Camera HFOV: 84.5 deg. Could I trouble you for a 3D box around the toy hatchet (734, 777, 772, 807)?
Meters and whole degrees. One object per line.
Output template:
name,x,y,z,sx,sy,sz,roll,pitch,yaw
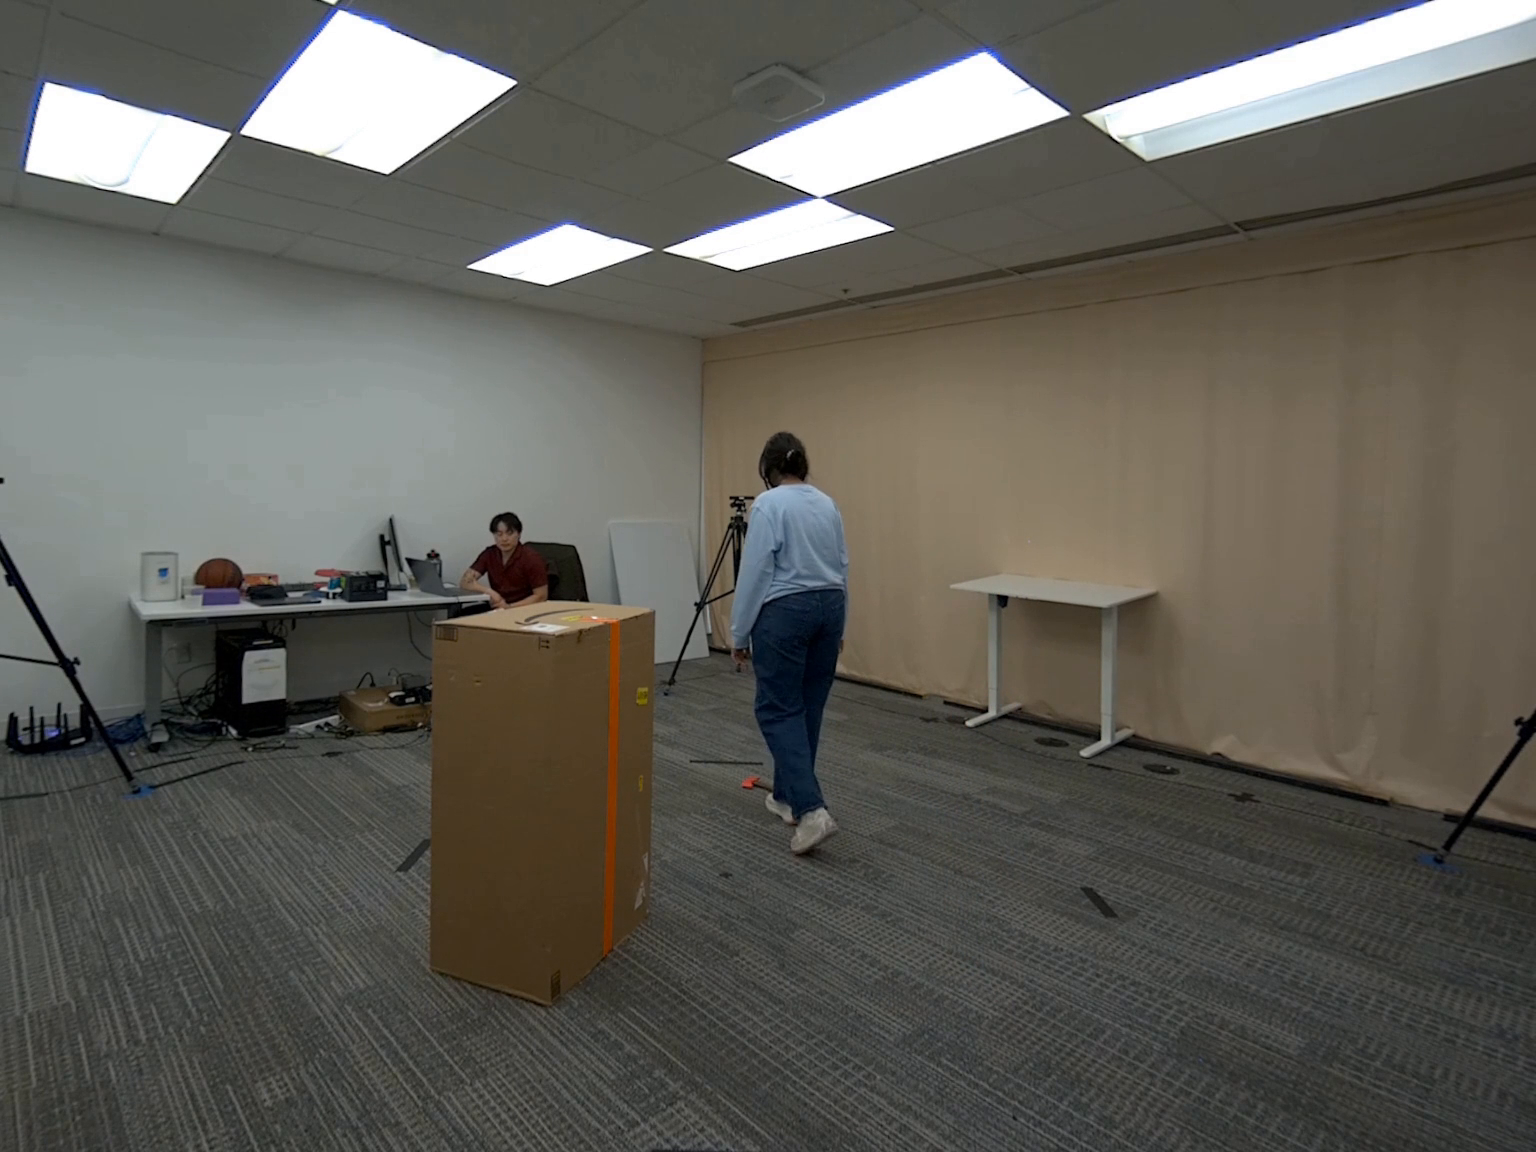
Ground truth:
toy hatchet,-0.039,1.023,4.024,0.128,0.029,0.276,0,7,-29
